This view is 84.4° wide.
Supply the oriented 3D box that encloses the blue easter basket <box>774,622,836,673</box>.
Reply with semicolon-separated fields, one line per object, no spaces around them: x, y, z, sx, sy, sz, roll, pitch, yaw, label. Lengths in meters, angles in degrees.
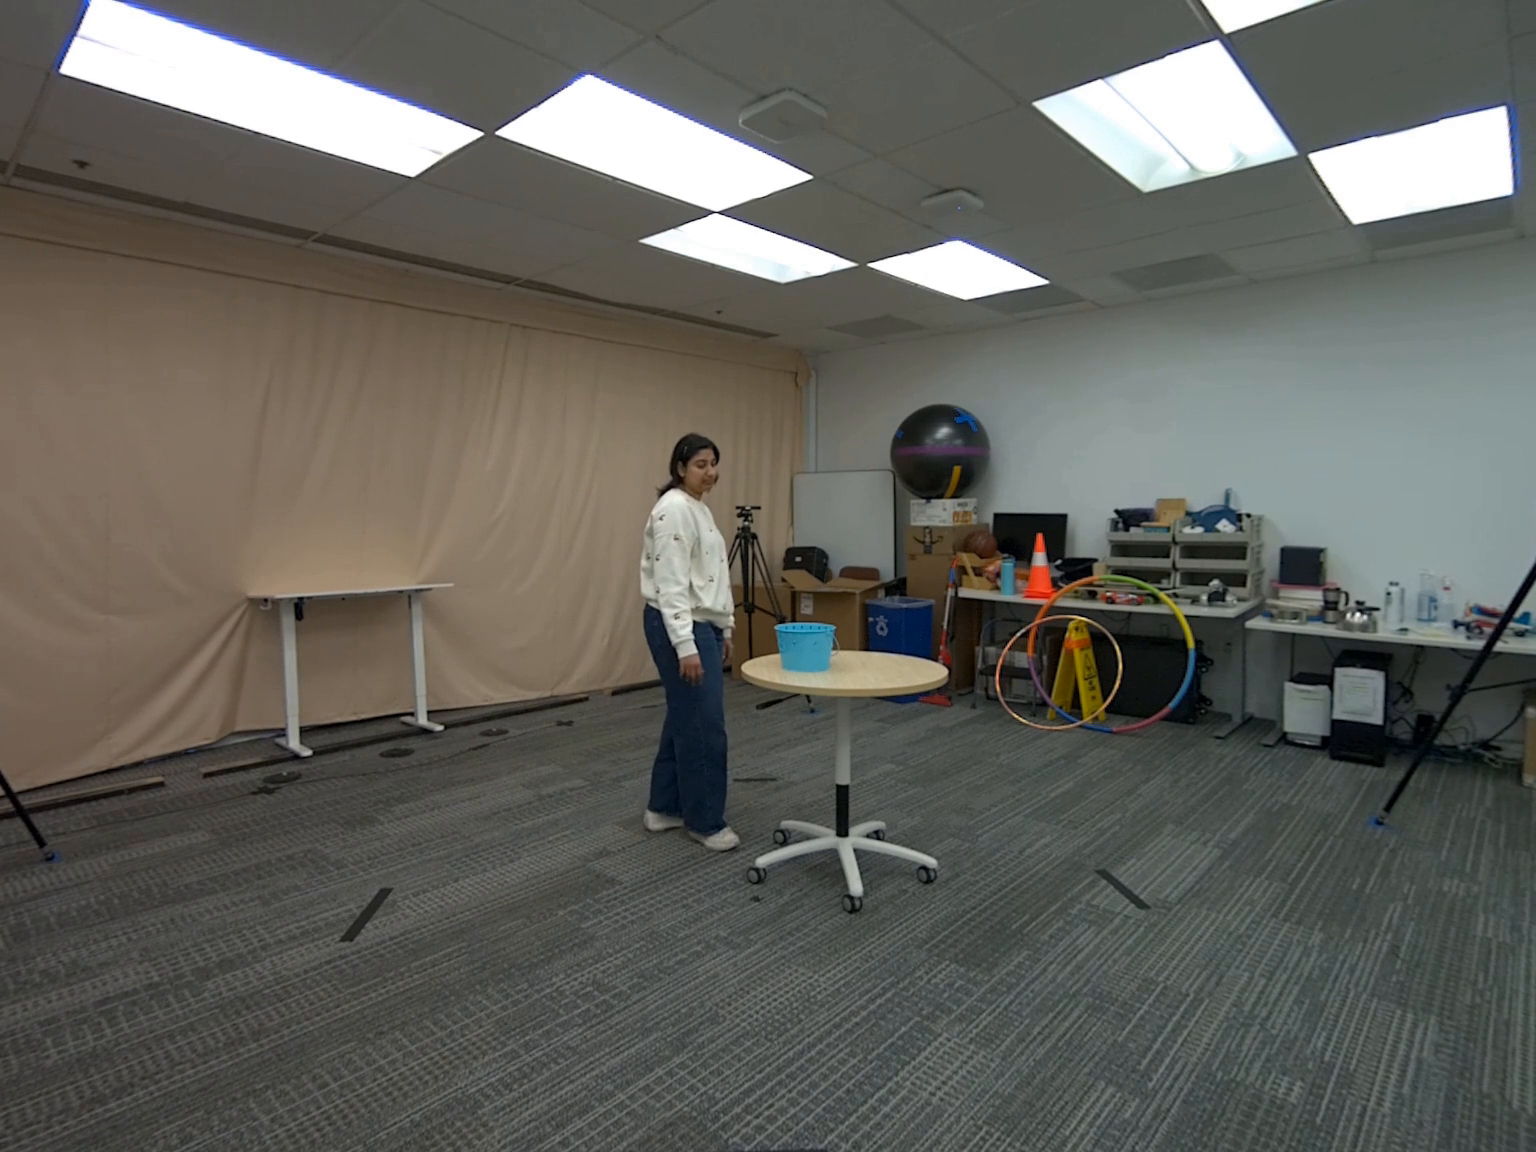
0.158;0.273;3.181;0.243;0.155;0.244;-1;4;-2;blue easter basket
